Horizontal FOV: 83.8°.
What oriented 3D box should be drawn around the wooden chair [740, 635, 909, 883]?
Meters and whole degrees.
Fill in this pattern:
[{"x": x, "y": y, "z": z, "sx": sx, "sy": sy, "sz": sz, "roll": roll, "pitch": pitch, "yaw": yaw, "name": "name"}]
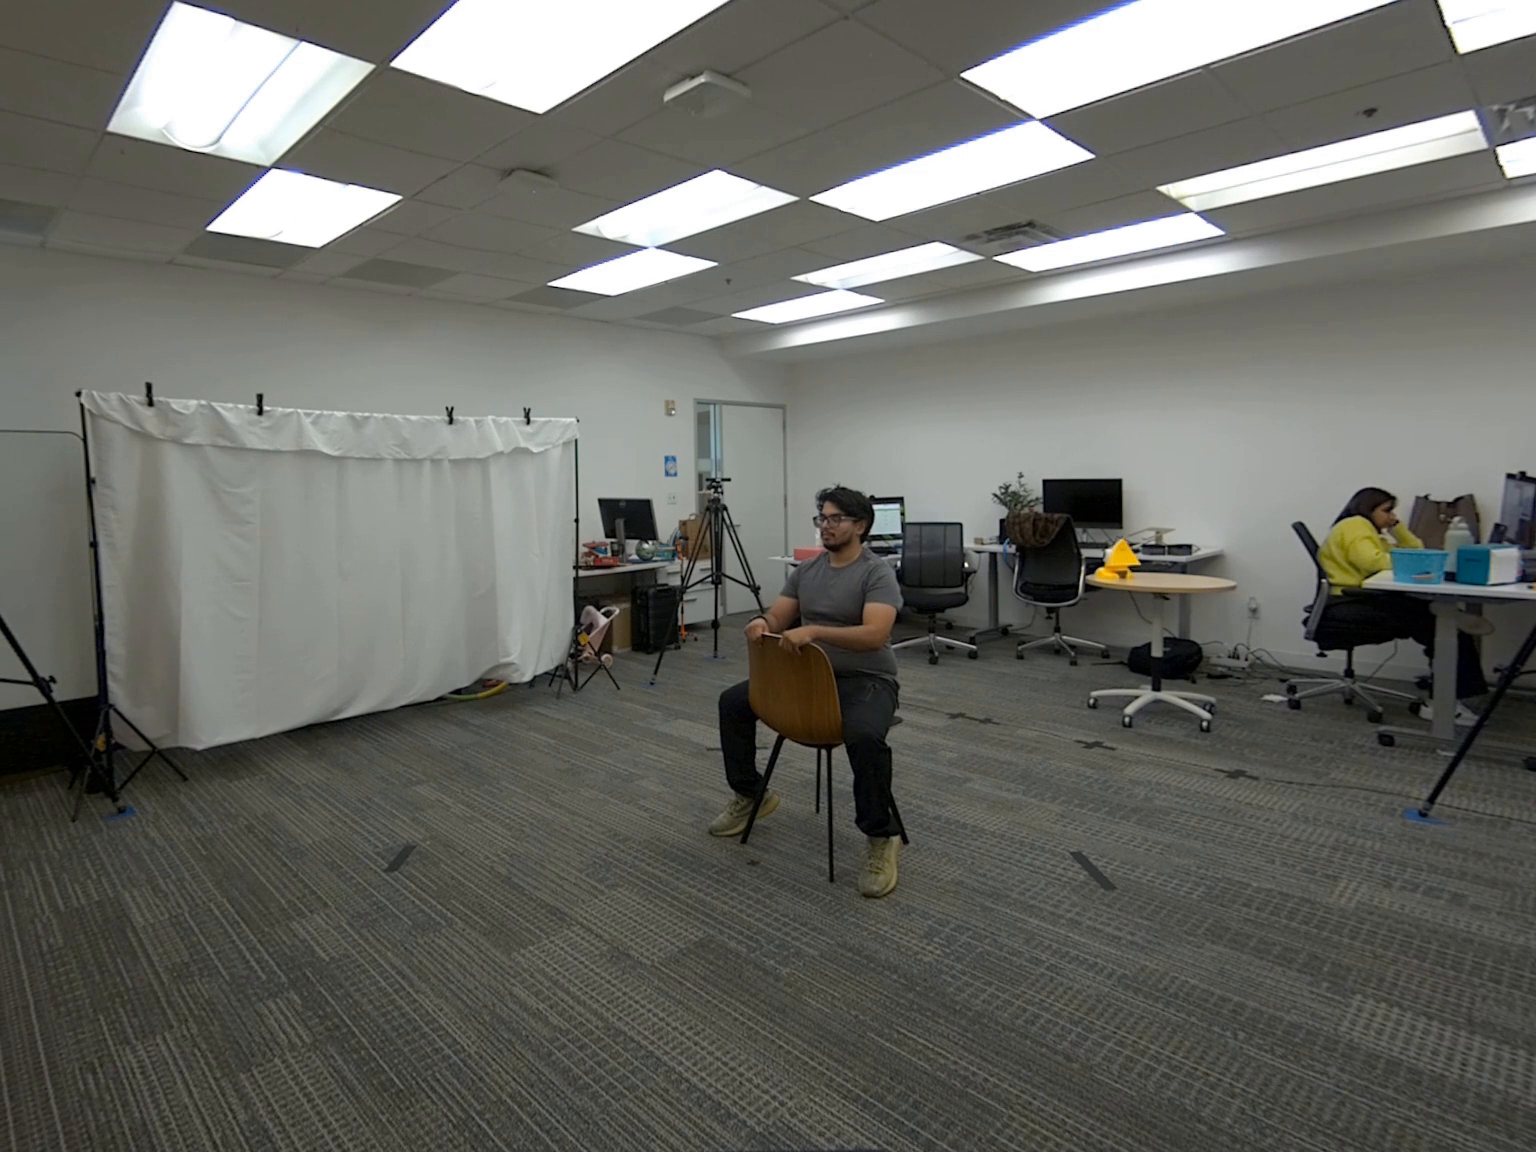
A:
[{"x": 0.213, "y": 0.596, "z": 3.235, "sx": 0.511, "sy": 0.872, "sz": 0.493, "roll": -10, "pitch": 10, "yaw": -44, "name": "wooden chair"}]
